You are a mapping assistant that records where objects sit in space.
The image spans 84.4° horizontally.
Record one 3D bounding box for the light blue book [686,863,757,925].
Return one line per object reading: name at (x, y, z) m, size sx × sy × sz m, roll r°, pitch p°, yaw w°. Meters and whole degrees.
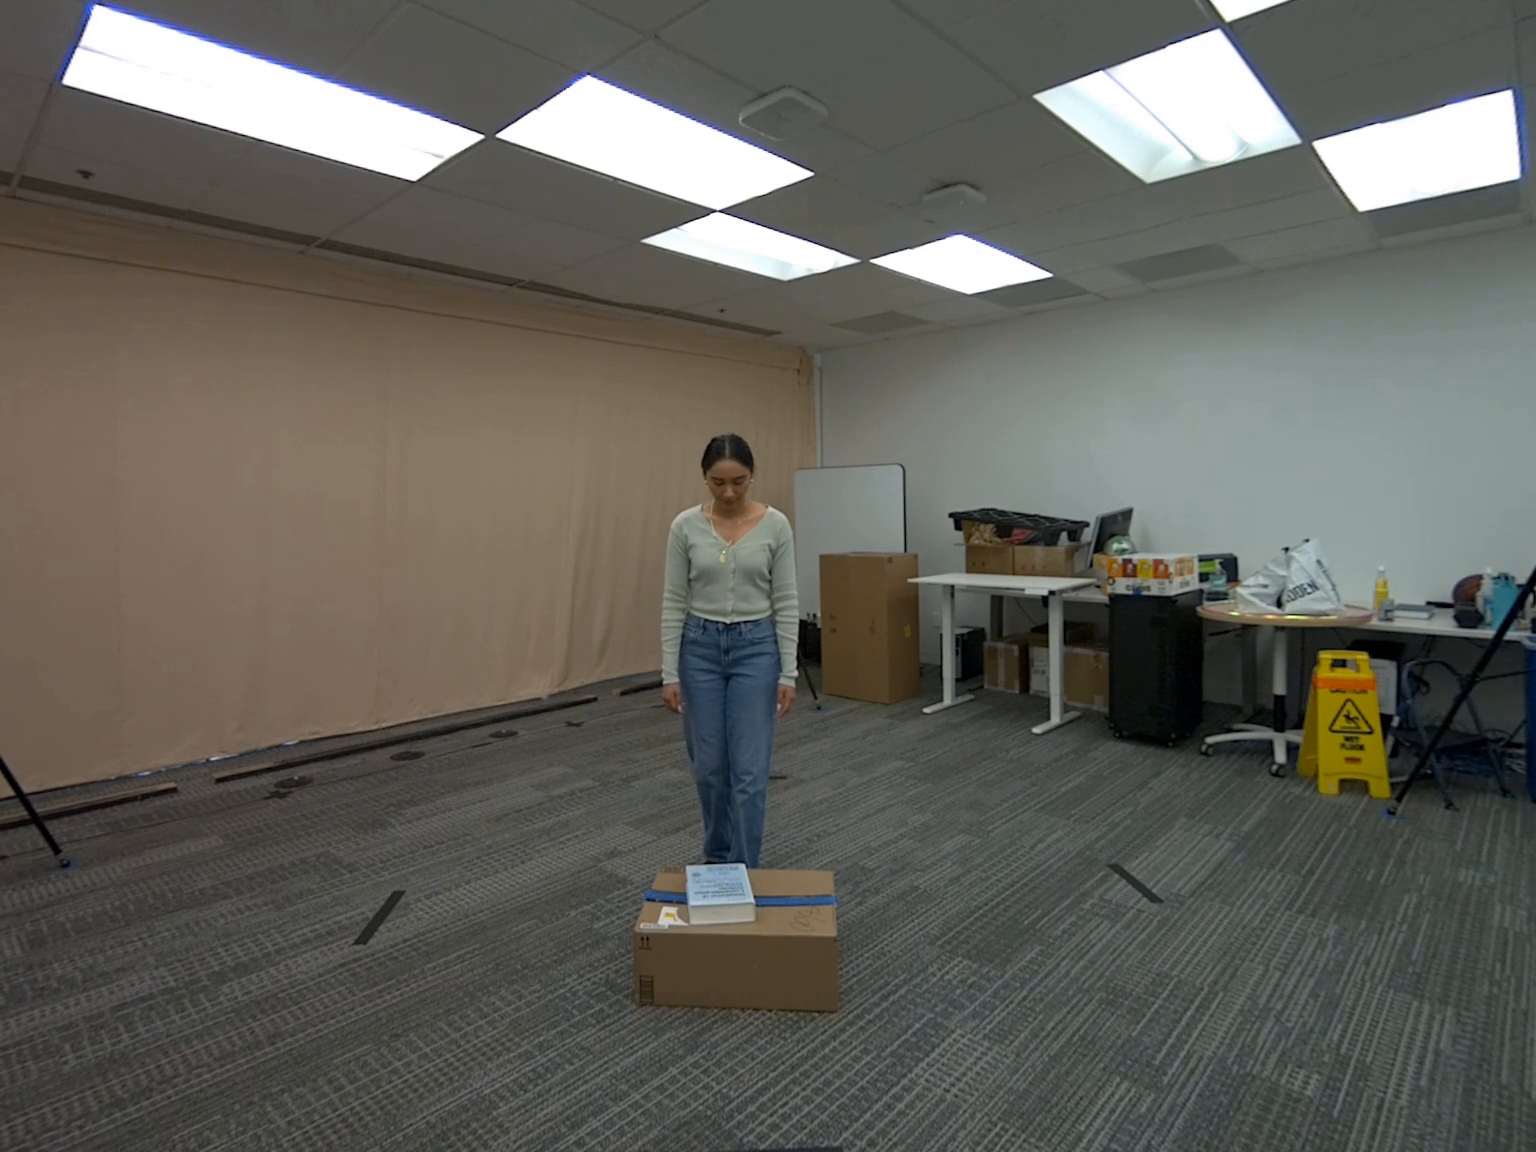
light blue book at (-0.144, 0.936, 2.515) m, size 0.190 × 0.059 × 0.263 m, roll -1°, pitch 4°, yaw -6°
